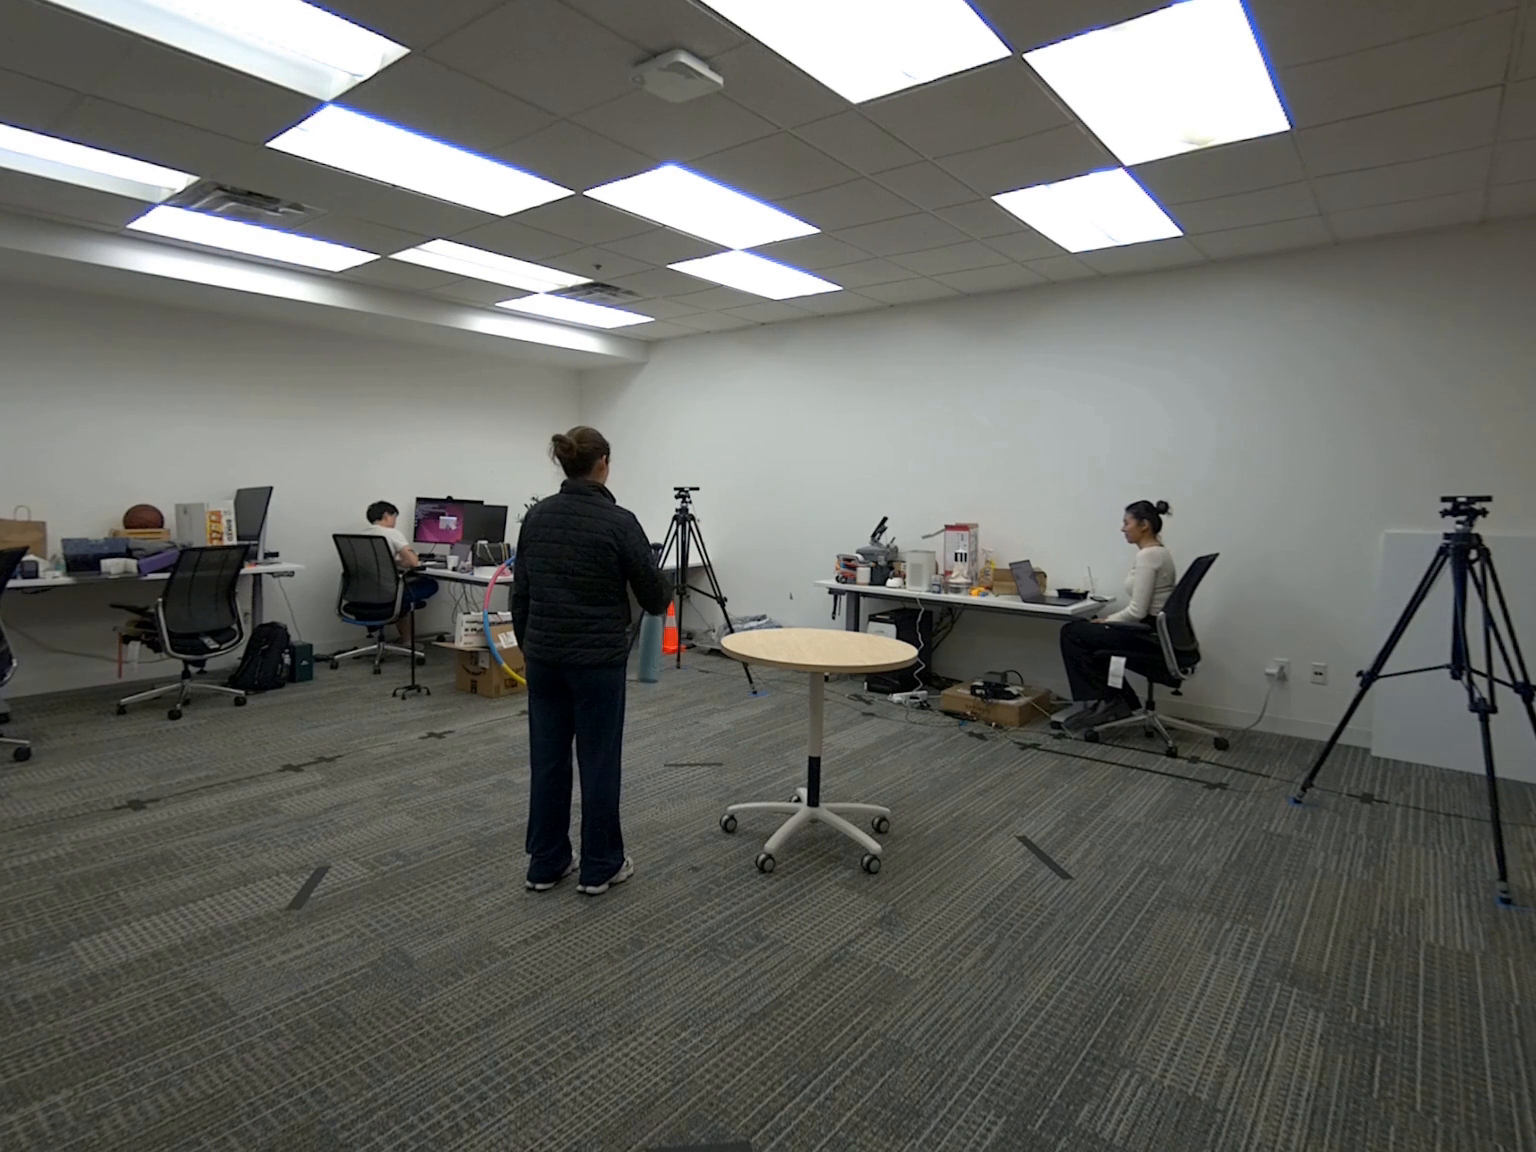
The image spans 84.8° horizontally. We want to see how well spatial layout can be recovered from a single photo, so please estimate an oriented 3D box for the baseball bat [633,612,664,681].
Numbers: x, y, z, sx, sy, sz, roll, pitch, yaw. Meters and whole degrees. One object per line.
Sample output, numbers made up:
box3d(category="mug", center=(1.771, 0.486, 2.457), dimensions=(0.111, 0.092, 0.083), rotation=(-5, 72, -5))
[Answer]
box3d(category="baseball bat", center=(-0.425, 0.097, 3.297), dimensions=(0.089, 0.549, 0.088), rotation=(4, -13, -1))
